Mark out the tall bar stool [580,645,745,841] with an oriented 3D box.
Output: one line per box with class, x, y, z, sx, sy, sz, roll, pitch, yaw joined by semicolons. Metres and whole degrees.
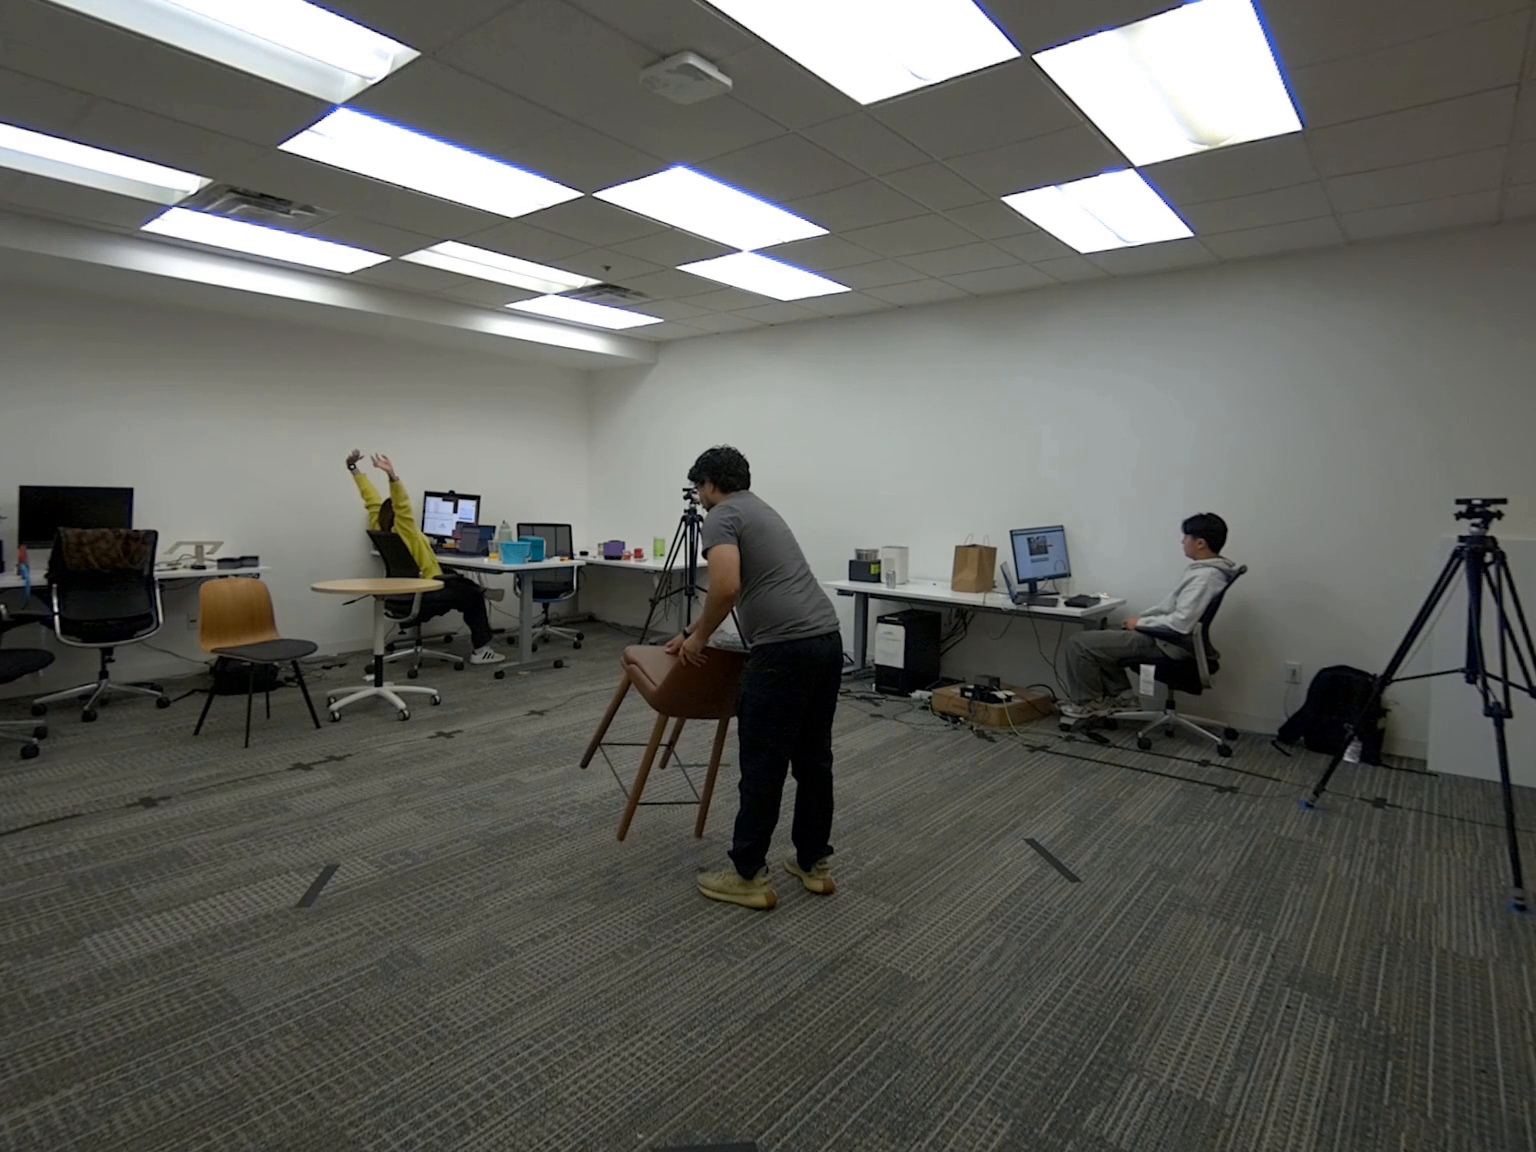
tall bar stool;-0.378;0.541;3.352;0.442;0.882;0.487;10;22;-34
